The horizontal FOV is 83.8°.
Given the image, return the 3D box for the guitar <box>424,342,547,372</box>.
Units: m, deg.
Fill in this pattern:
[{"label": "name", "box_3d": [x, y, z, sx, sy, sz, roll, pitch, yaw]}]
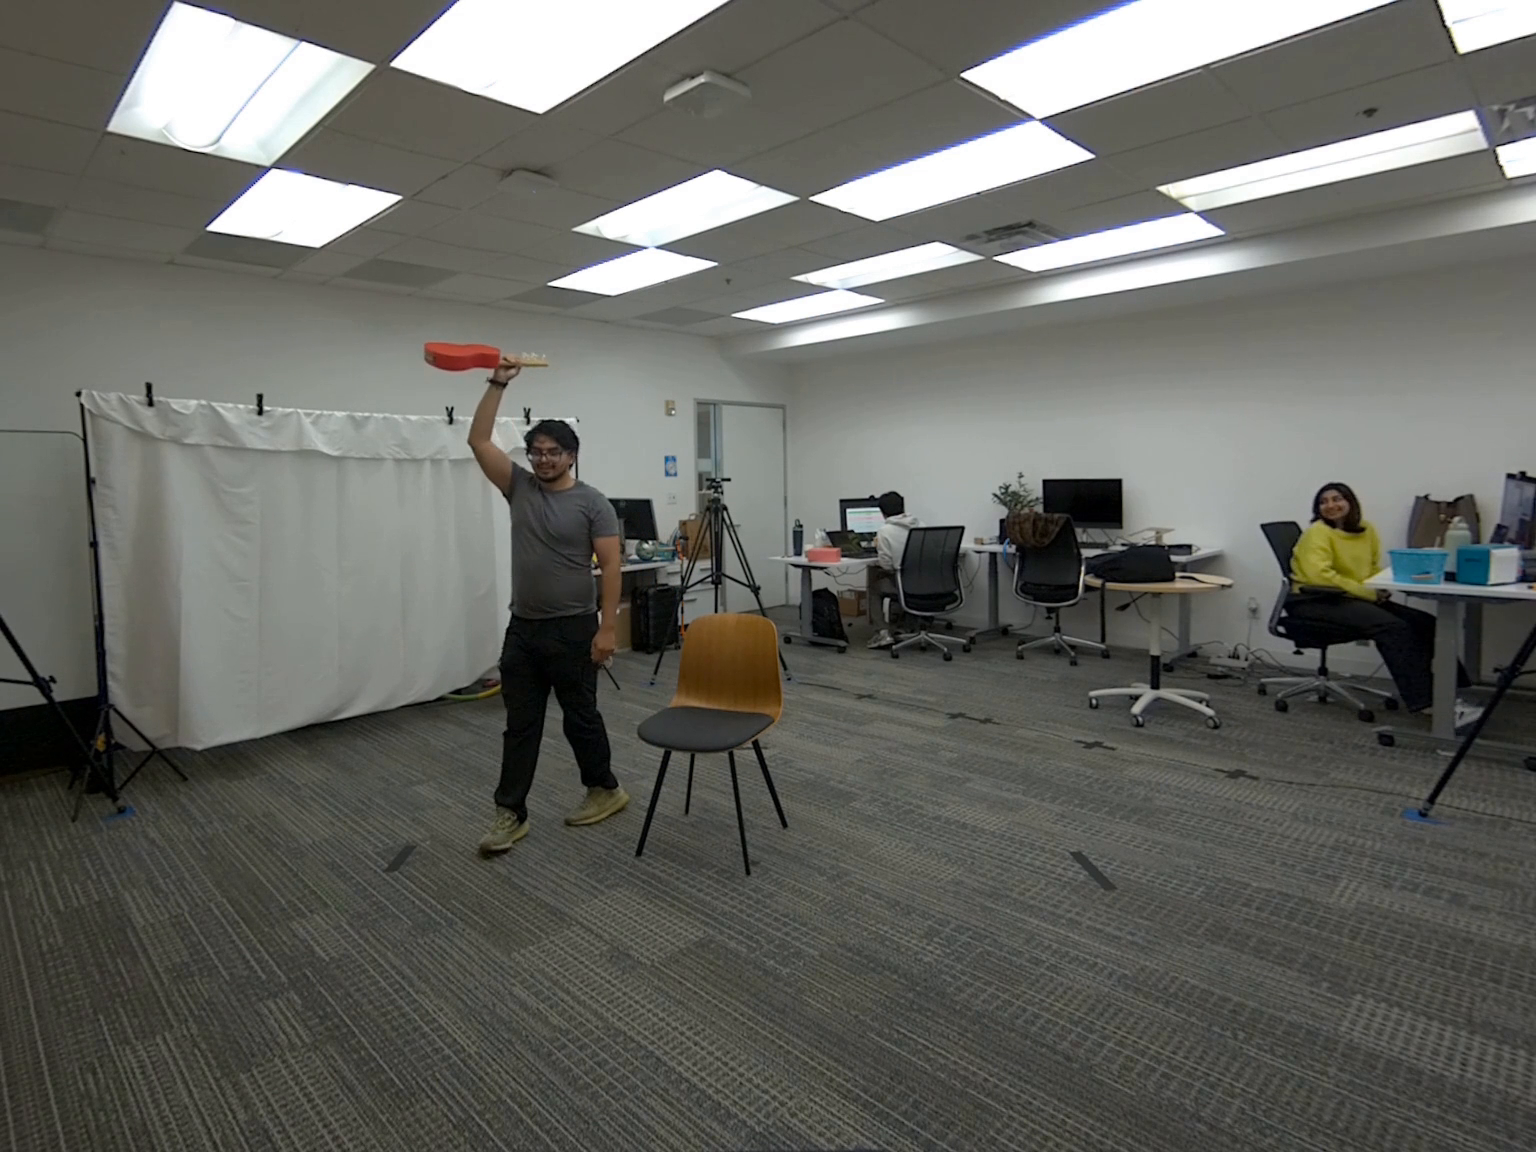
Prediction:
[{"label": "guitar", "box_3d": [-1.079, -0.845, 3.267, 0.199, 0.069, 0.489, 24, 27, 29]}]
